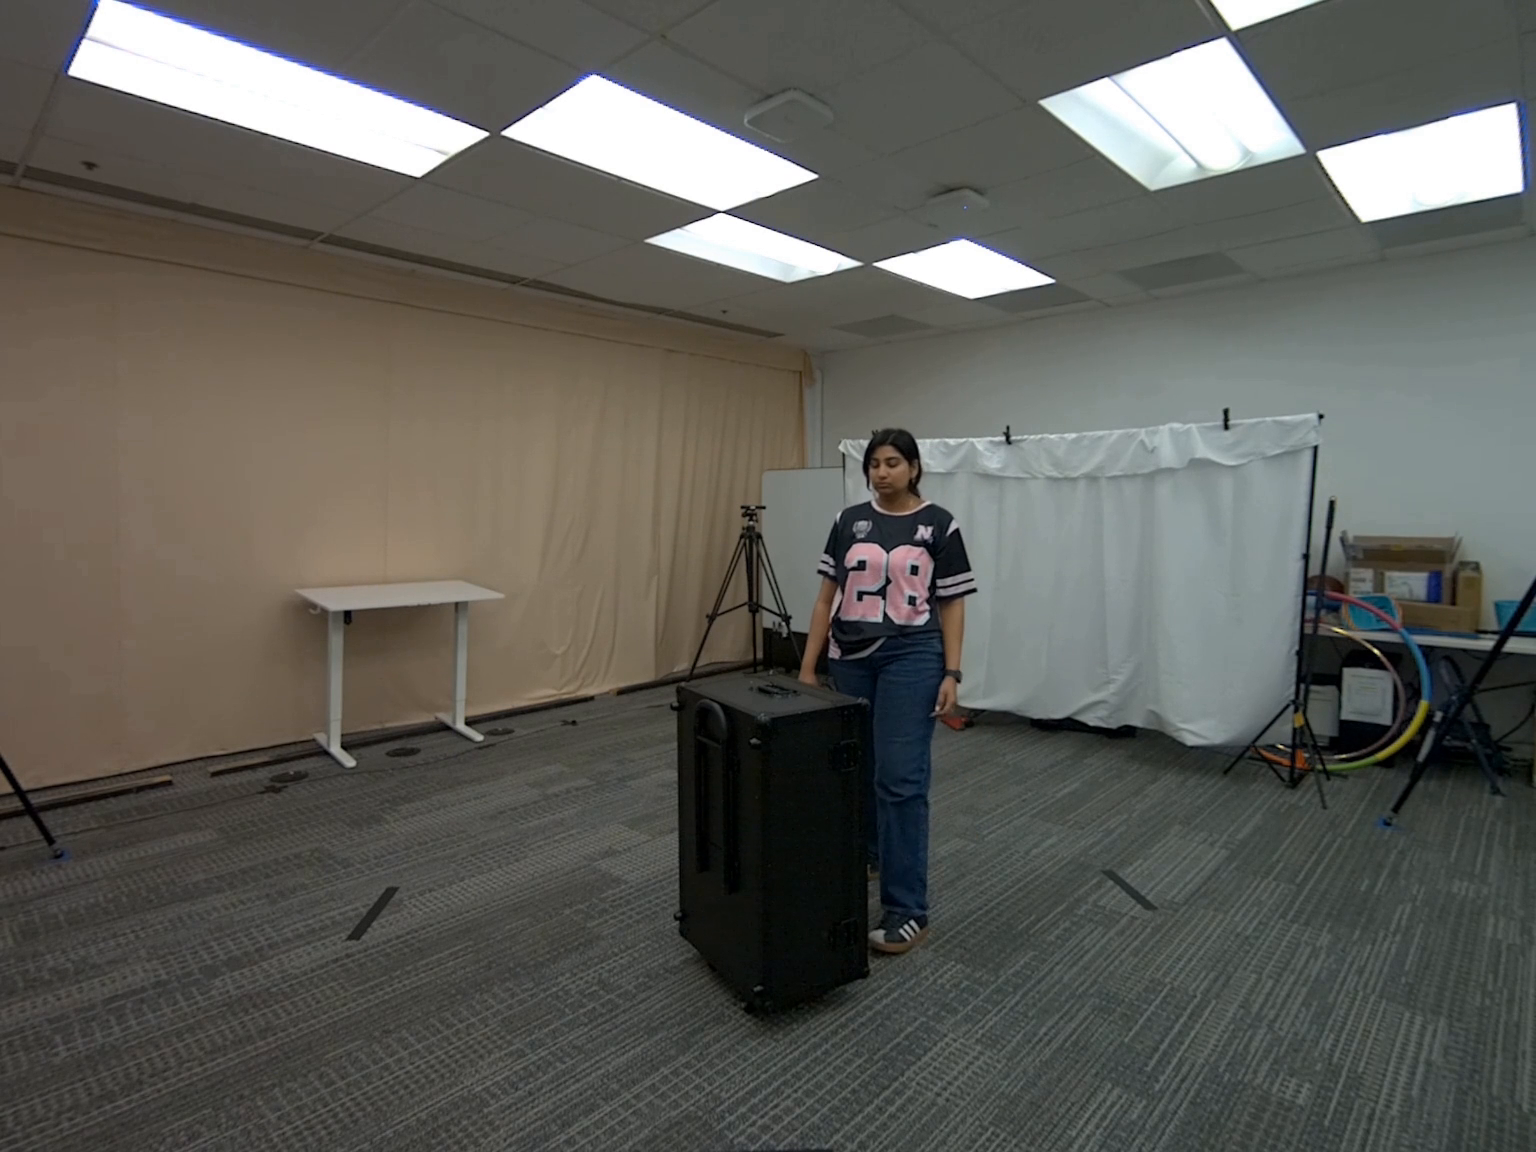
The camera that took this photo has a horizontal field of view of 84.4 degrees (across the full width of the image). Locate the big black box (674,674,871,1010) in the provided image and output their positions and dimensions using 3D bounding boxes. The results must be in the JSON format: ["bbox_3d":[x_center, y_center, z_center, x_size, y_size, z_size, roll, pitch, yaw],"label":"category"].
[{"bbox_3d":[0.004,0.767,2.449,0.374,0.867,0.539,-3,4,-32],"label":"big black box"}]
